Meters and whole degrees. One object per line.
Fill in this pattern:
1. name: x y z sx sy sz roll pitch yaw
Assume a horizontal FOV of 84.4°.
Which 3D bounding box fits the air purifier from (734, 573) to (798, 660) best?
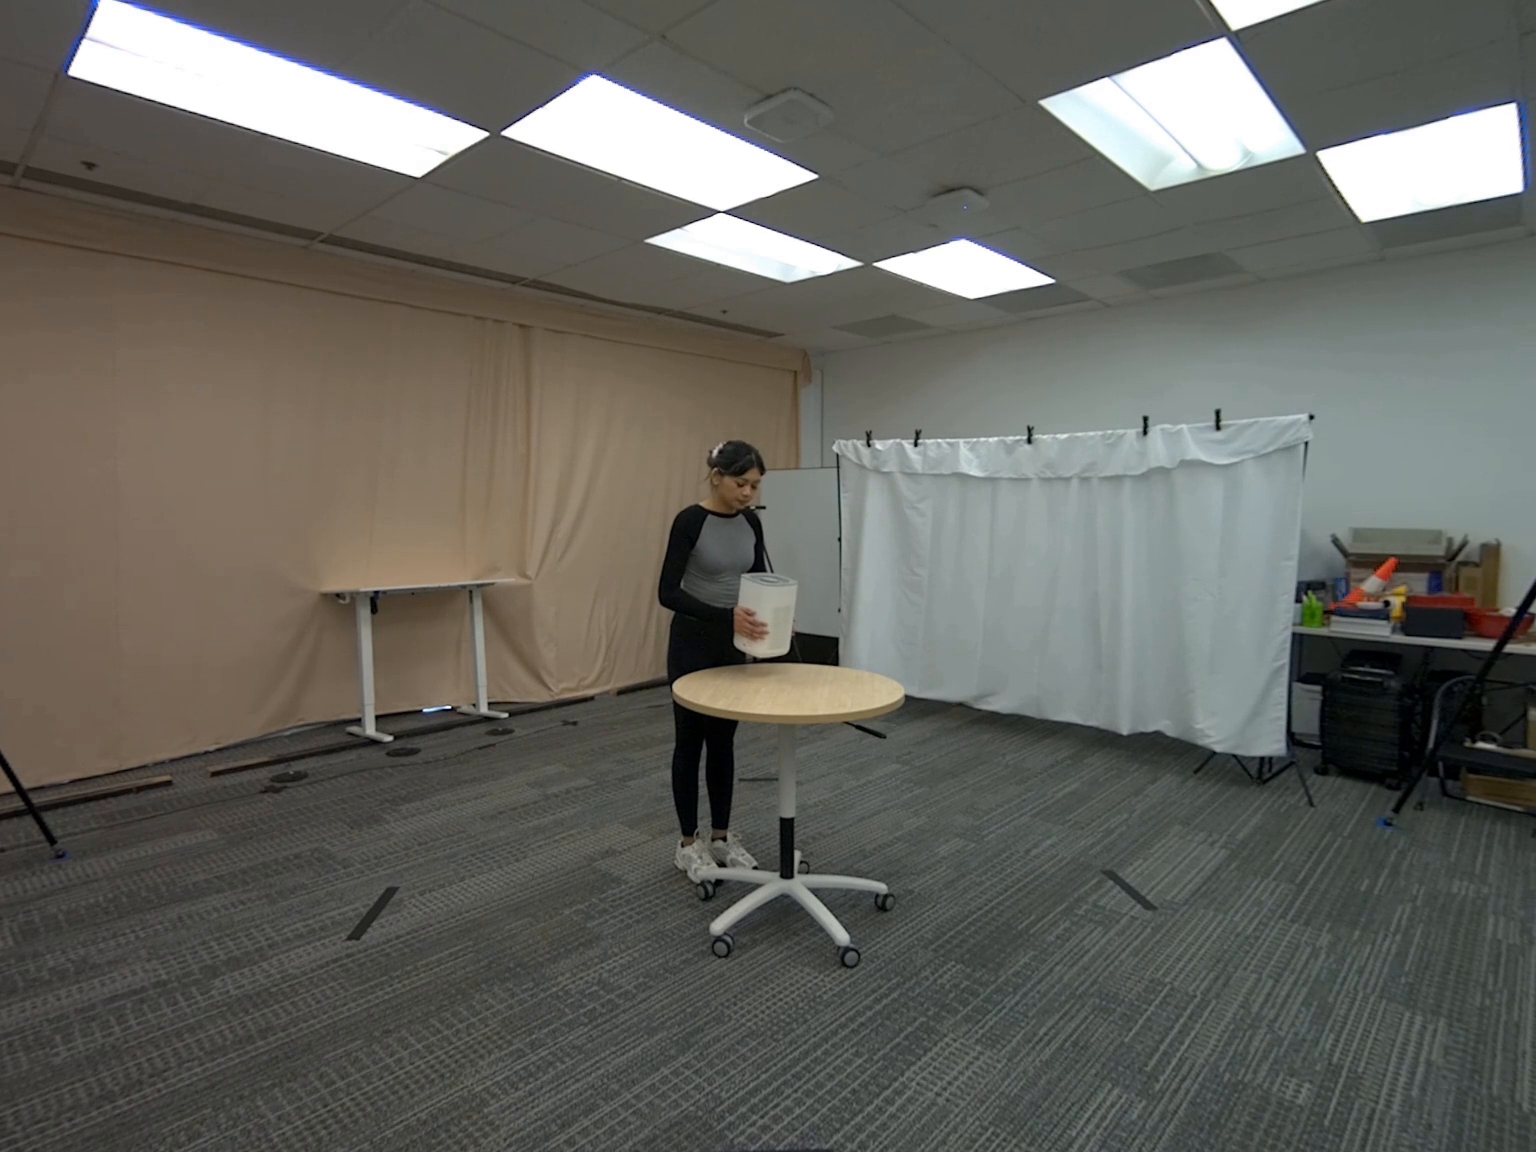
1. air purifier: -0.002 0.141 2.942 0.177 0.264 0.166 16 15 40
